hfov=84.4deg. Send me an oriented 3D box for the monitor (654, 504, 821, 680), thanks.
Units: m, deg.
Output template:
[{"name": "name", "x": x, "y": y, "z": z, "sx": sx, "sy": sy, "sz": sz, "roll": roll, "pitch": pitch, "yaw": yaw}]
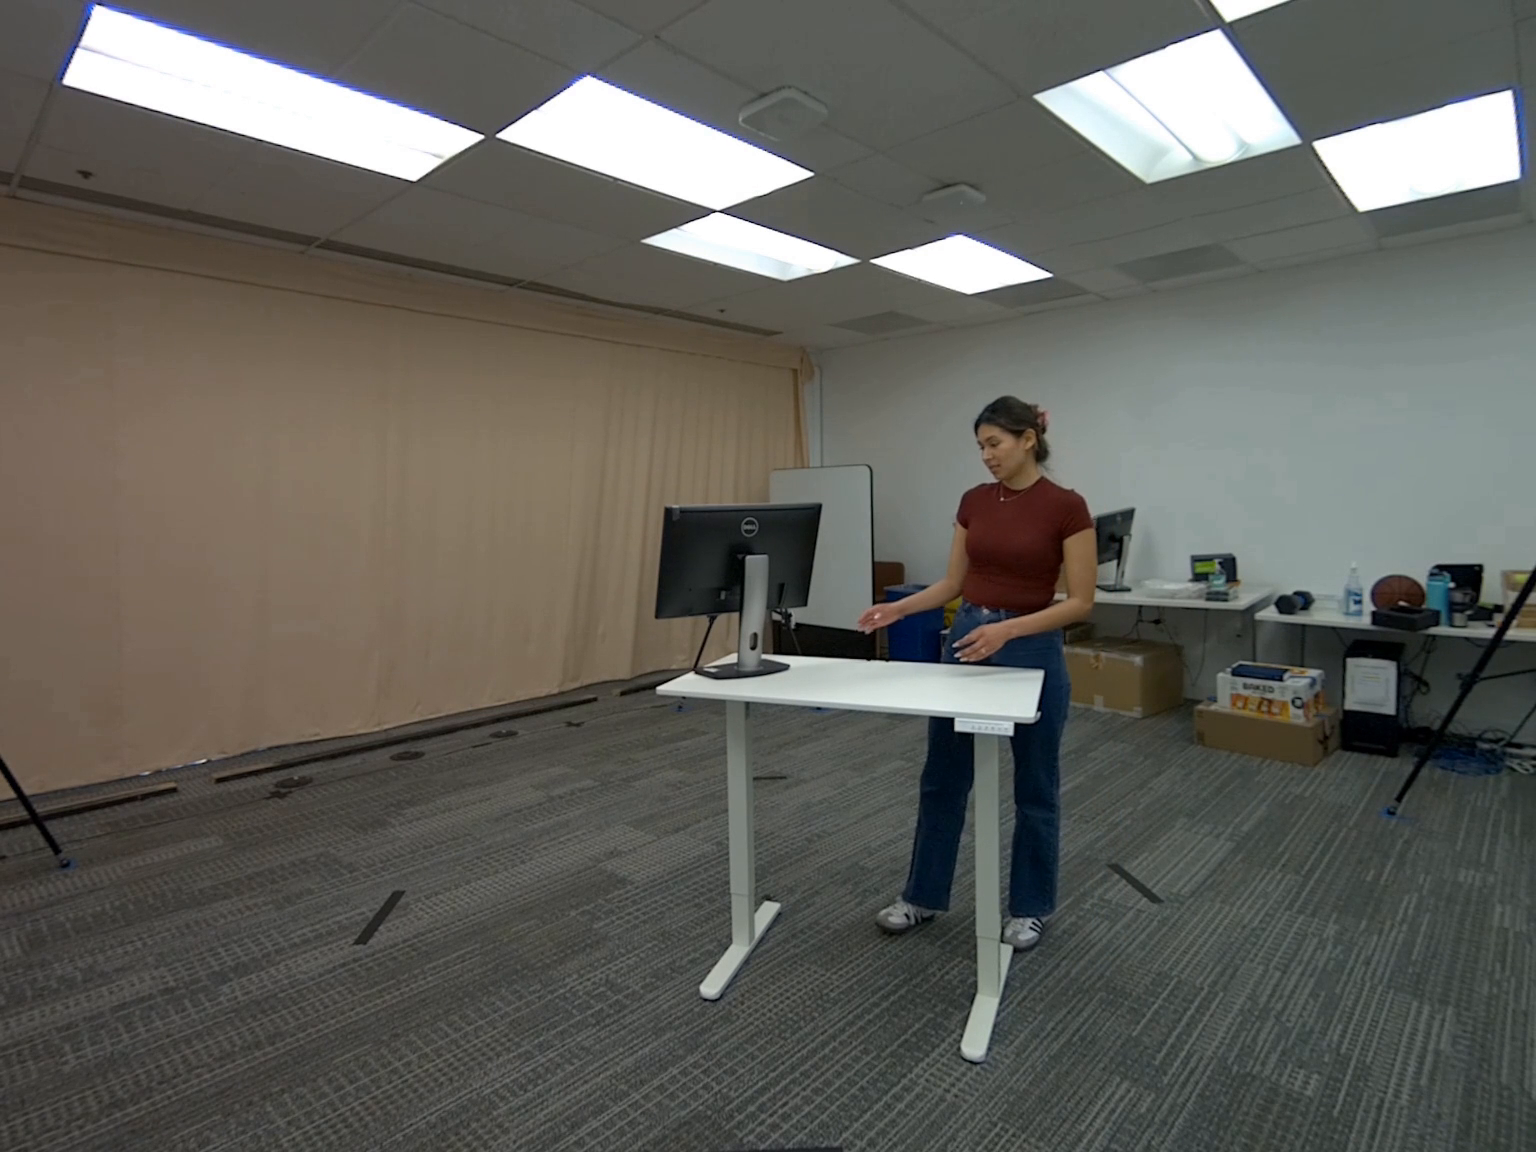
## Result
[{"name": "monitor", "x": -0.067, "y": 0.044, "z": 2.571, "sx": 0.525, "sy": 0.520, "sz": 0.192, "roll": -3, "pitch": 7, "yaw": -28}]
